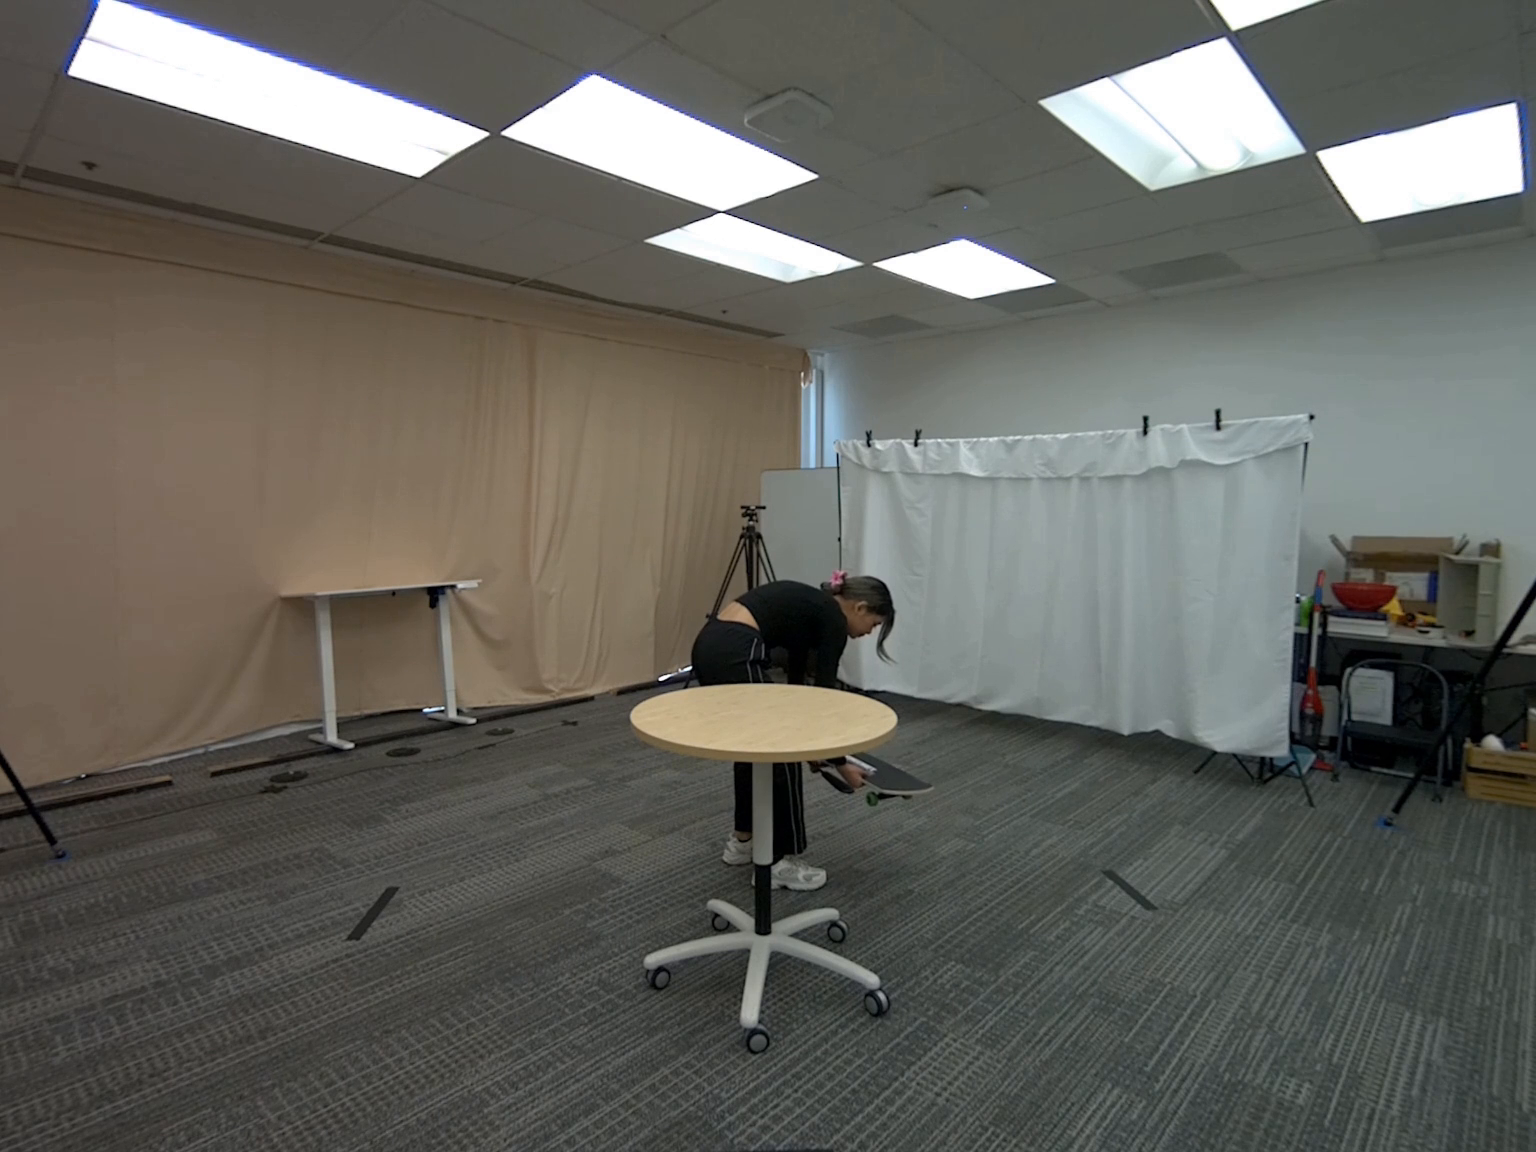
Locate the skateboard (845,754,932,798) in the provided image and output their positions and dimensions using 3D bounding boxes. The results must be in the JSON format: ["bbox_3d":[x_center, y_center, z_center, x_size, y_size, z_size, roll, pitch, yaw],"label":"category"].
[{"bbox_3d":[0.356,0.753,3.259,0.189,0.110,0.807,-5,7,-26],"label":"skateboard"}]
